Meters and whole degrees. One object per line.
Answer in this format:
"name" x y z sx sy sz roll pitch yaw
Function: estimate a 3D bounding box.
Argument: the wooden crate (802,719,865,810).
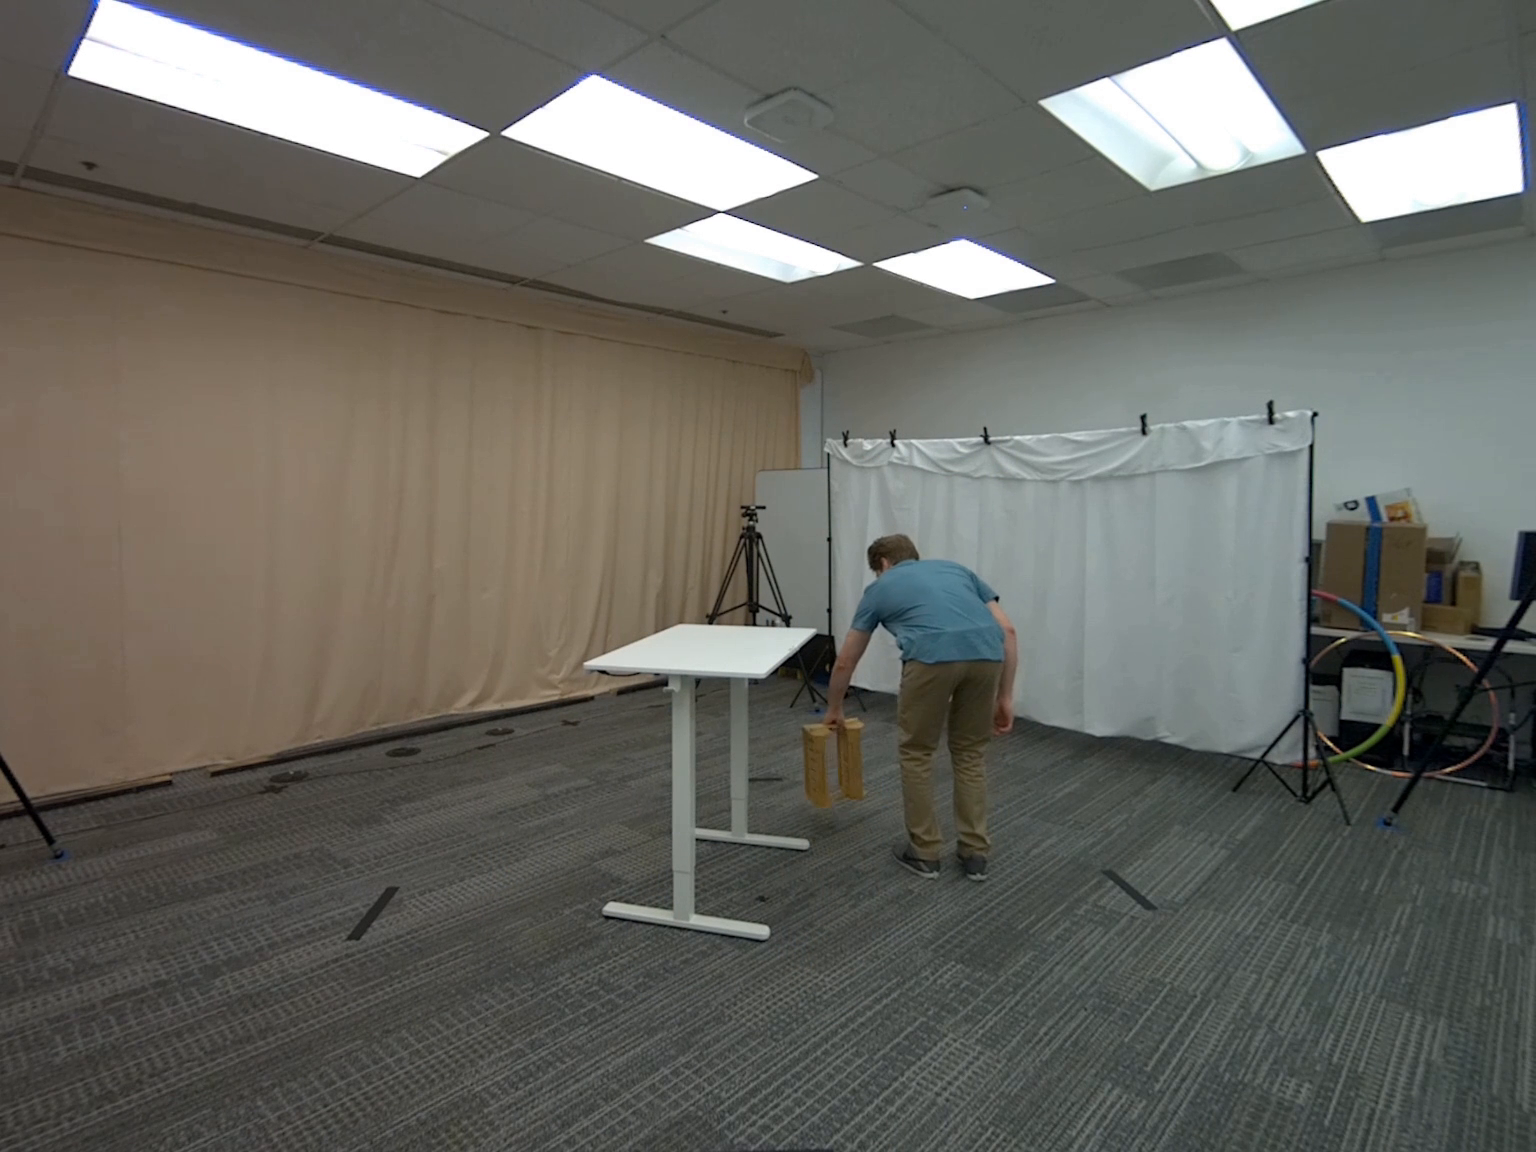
"wooden crate" 0.316 0.804 3.636 0.271 0.324 0.305 -3 1 -9
